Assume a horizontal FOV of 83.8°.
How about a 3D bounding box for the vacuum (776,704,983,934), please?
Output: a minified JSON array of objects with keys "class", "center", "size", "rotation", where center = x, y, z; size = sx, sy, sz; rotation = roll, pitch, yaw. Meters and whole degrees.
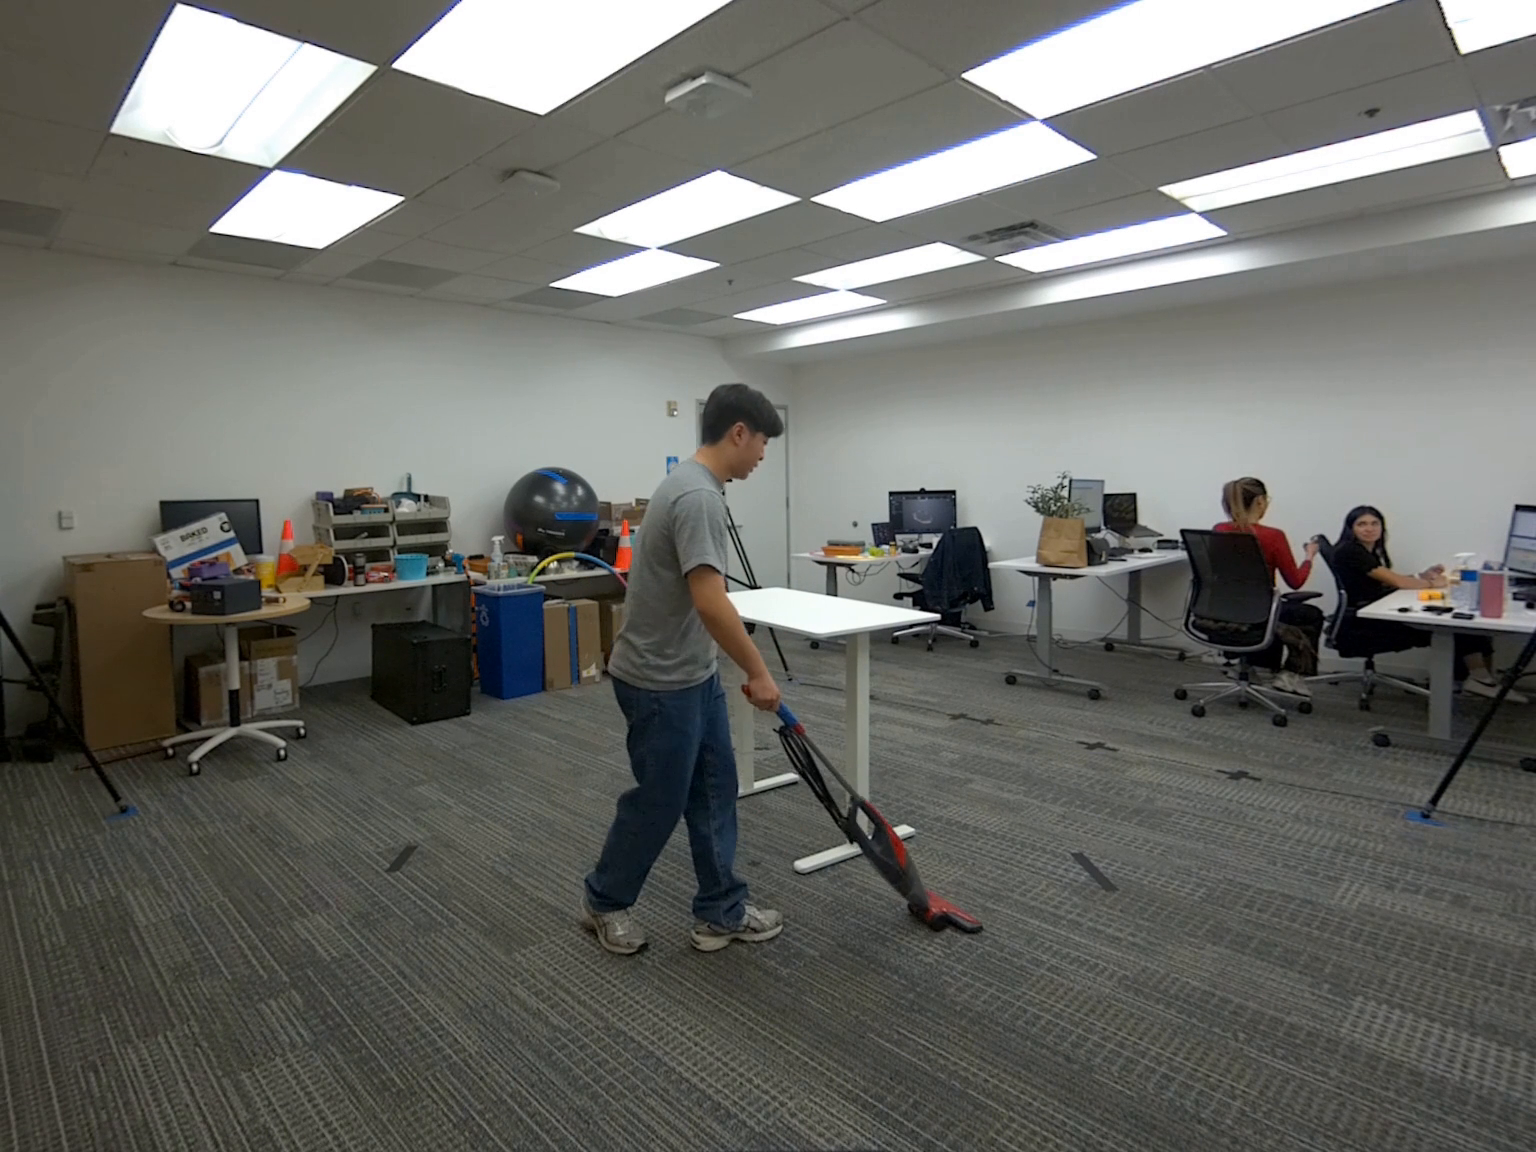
[{"class":"vacuum","center":[0.252,0.700,2.531],"size":[0.144,1.022,0.259],"rotation":[-47,22,-20]}]
